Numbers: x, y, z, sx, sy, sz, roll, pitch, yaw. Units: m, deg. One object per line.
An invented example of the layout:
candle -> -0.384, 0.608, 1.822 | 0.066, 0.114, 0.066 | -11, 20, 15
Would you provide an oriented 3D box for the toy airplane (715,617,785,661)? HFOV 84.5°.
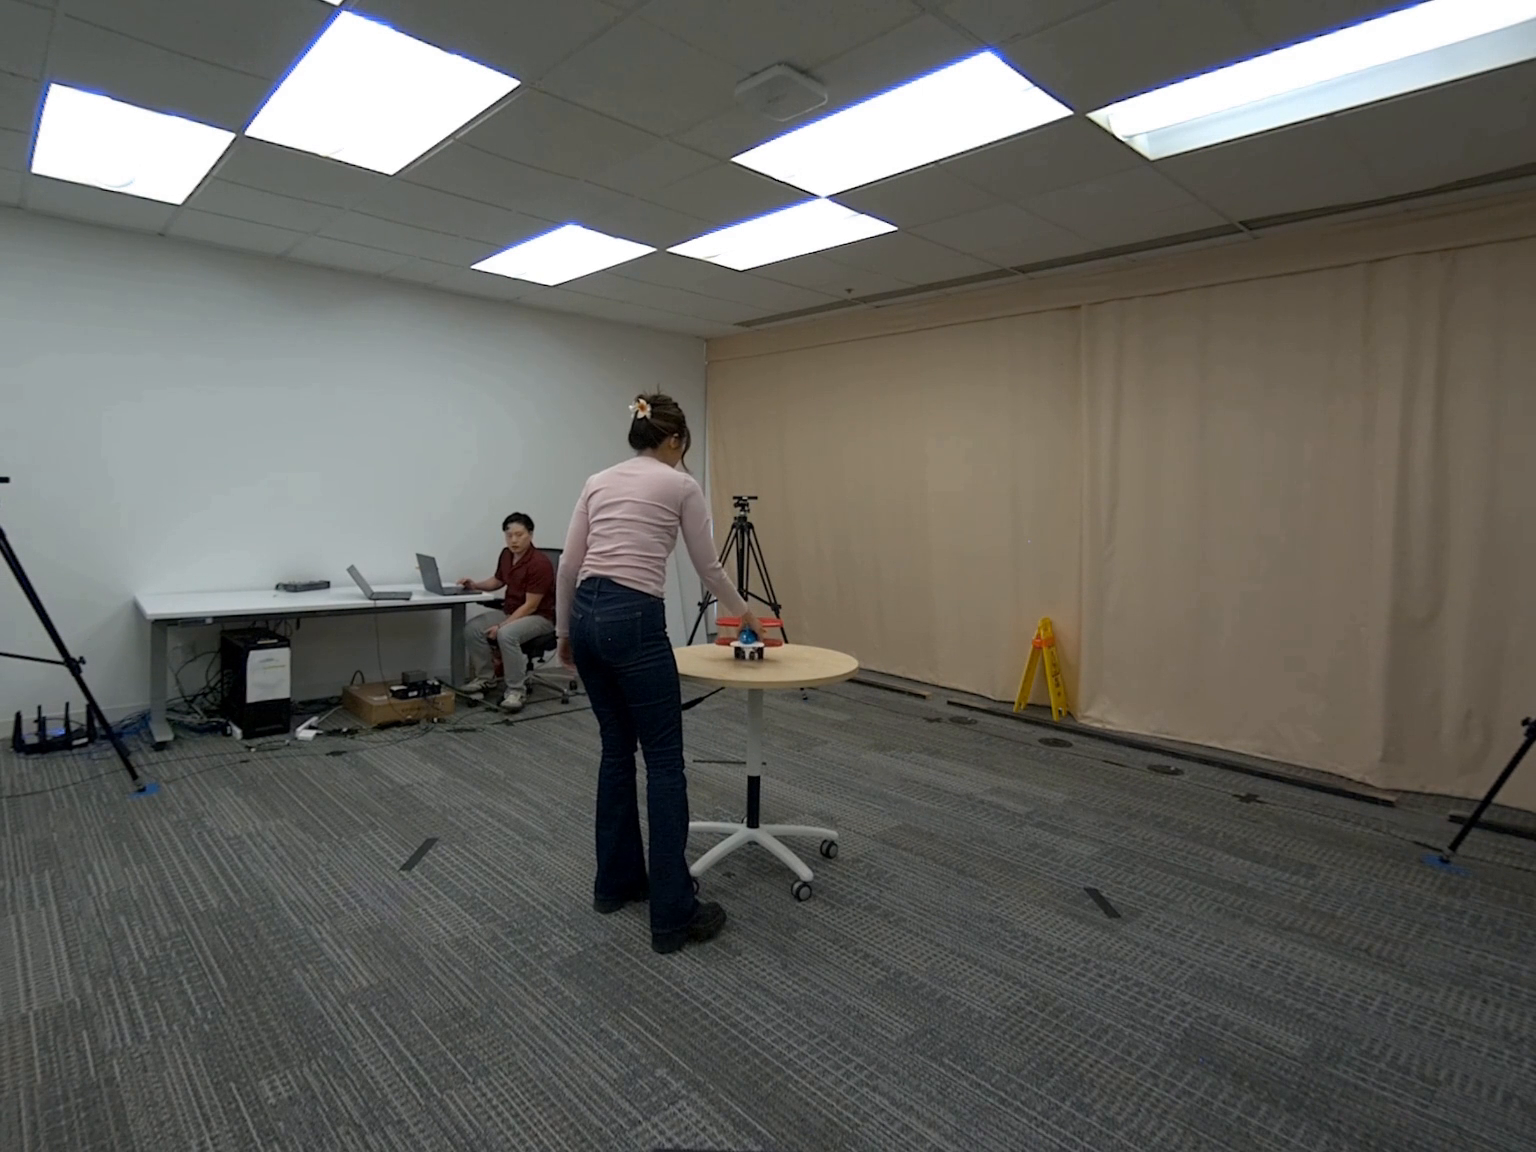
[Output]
toy airplane -> -0.055, 0.231, 3.125 | 0.246, 0.157, 0.263 | 3, -5, -27
